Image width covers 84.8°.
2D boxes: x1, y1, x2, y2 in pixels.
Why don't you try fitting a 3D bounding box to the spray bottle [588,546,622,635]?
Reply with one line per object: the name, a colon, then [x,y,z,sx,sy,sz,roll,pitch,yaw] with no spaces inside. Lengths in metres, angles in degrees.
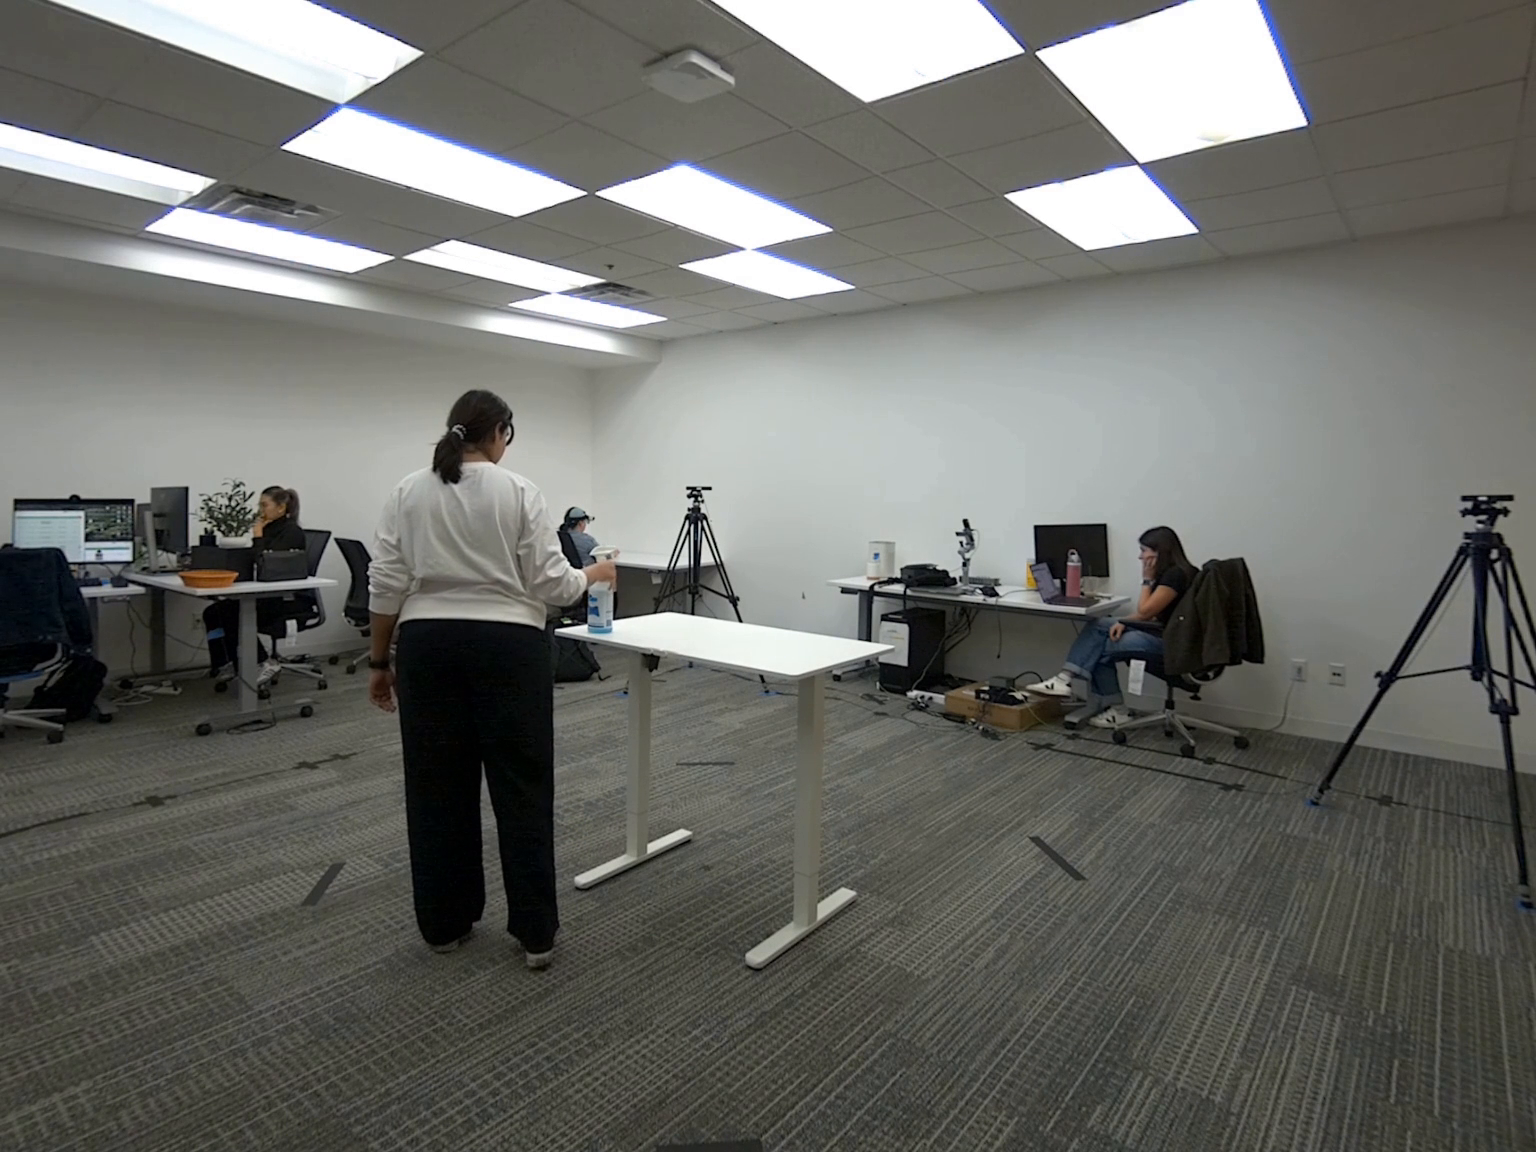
spray bottle: [-0.570,0.046,2.928,0.091,0.296,0.086,1,3,9]
